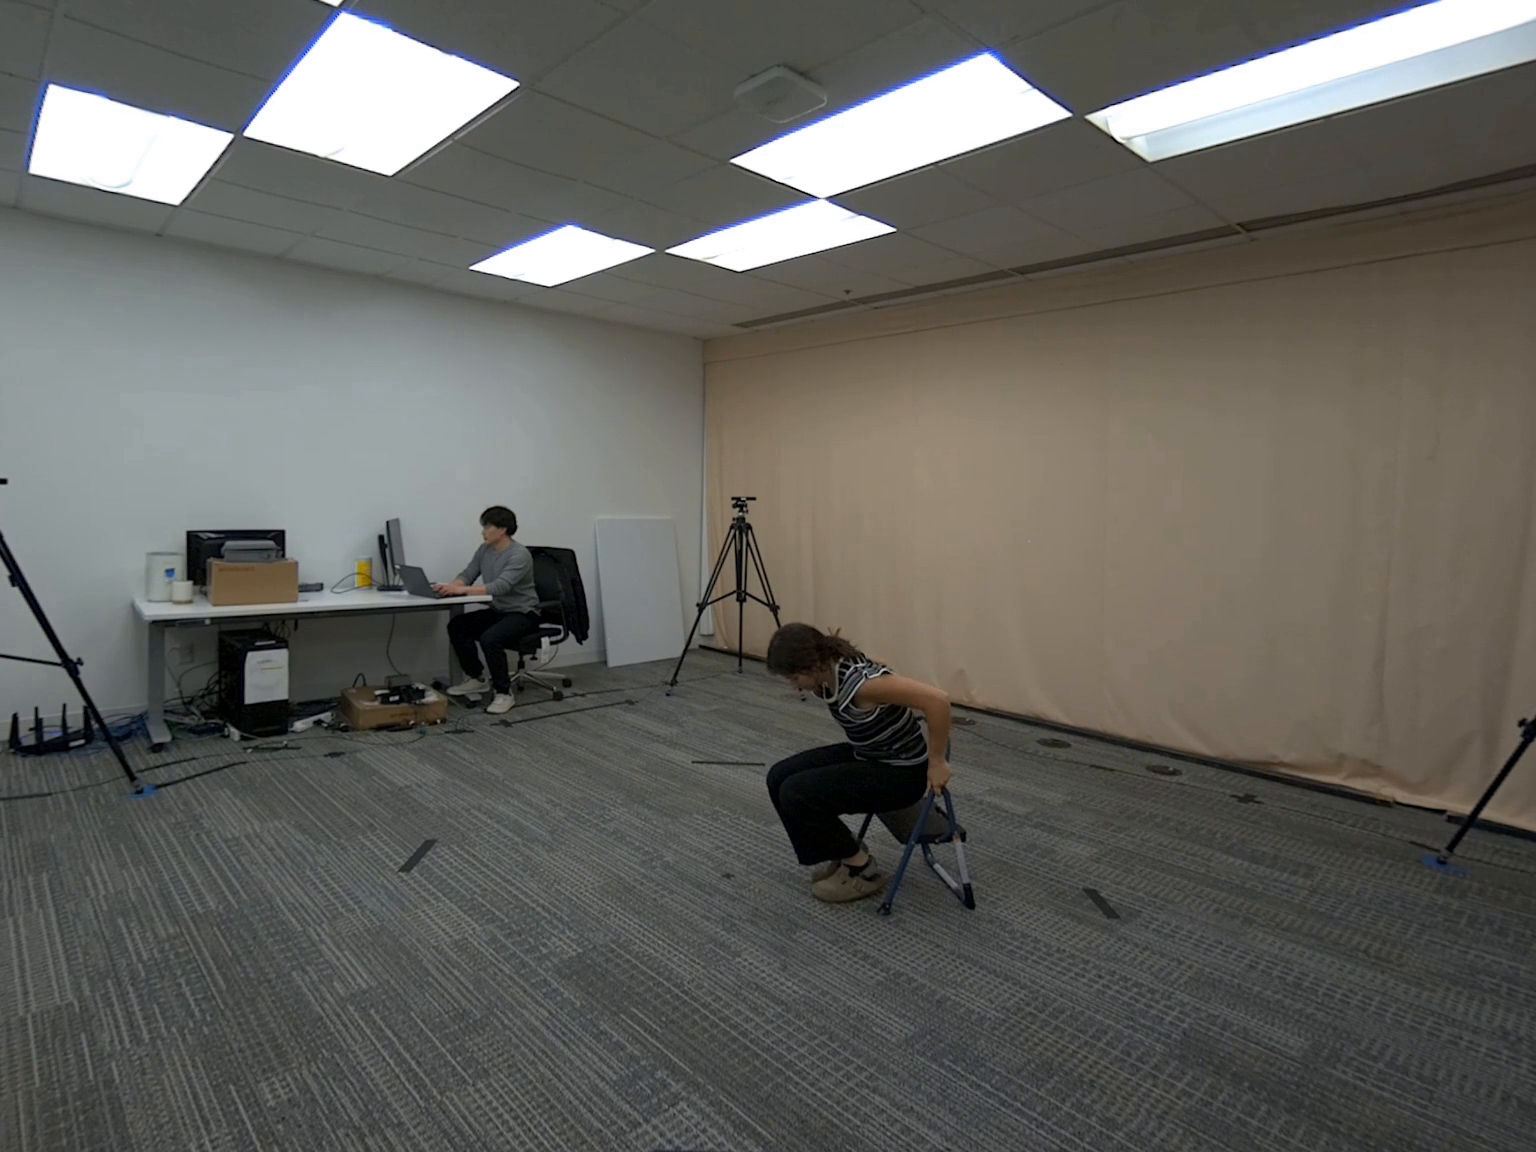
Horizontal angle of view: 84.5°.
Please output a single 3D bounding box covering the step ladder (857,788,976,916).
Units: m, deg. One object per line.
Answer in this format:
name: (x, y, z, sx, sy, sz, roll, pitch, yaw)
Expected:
step ladder: (0.509, 0.827, 3.052, 0.346, 0.604, 0.435, 0, 4, -11)
